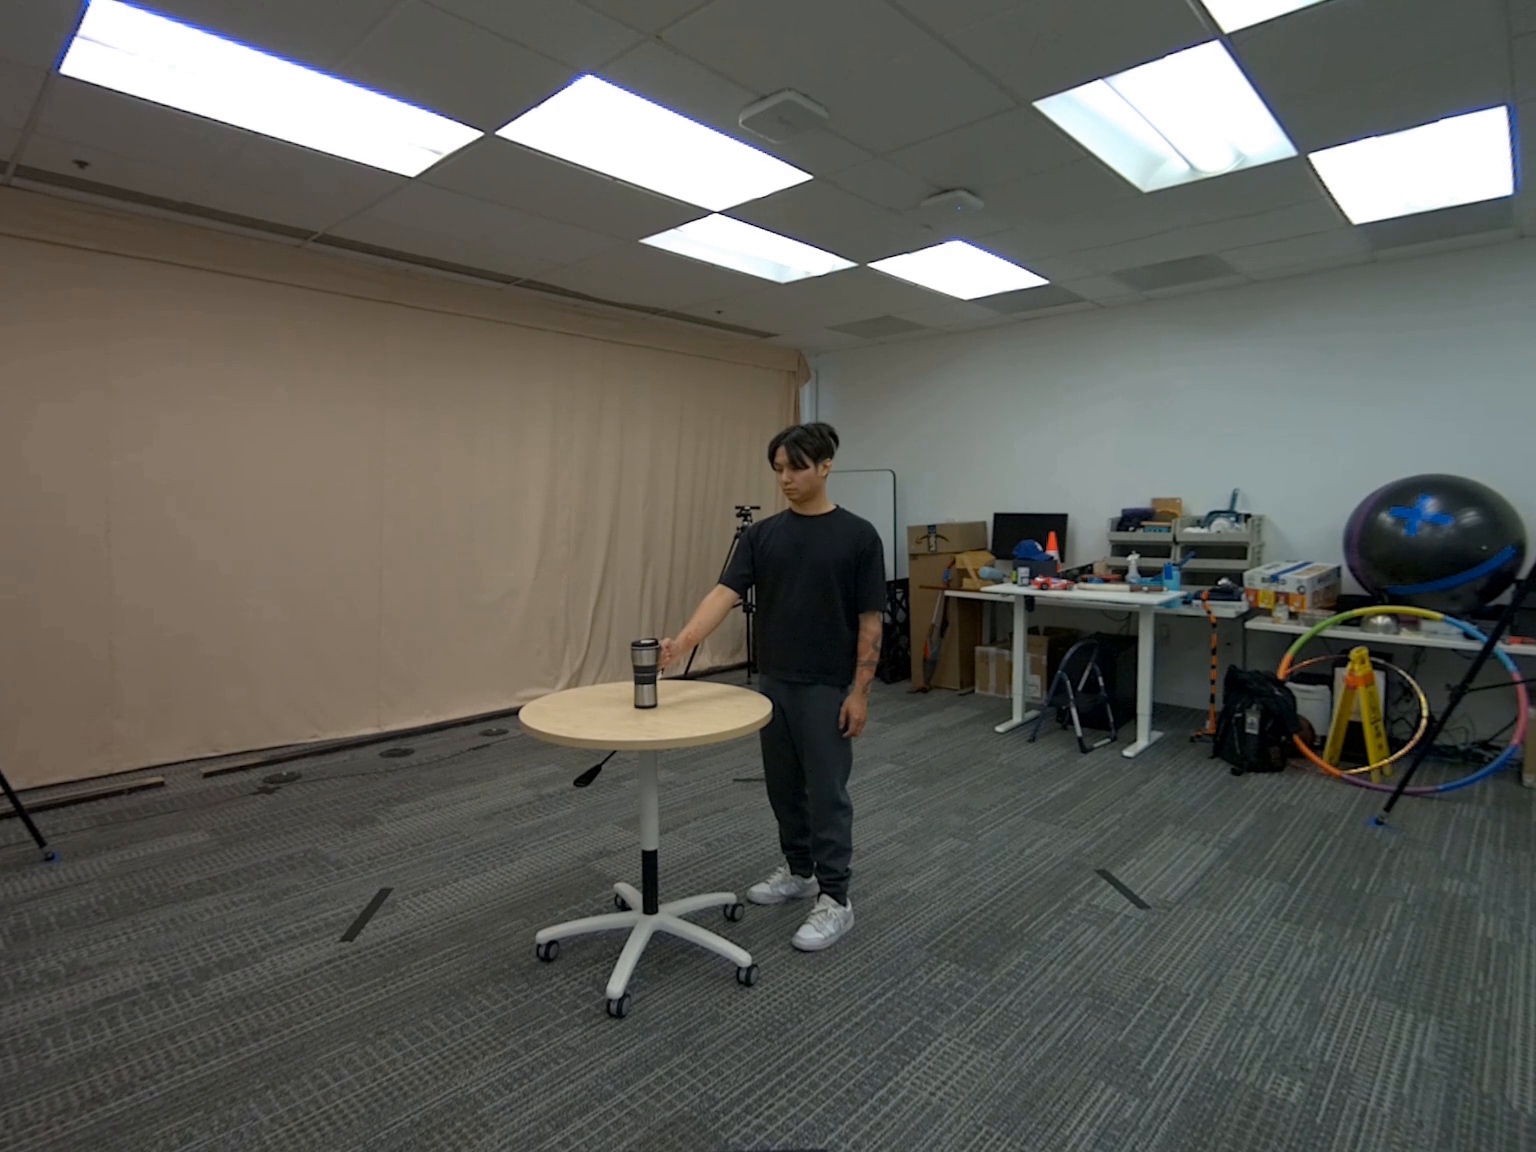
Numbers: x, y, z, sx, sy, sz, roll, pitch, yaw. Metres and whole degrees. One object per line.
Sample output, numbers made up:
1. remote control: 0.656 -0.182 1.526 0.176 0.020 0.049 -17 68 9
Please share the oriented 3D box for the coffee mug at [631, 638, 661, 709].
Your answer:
1. coffee mug: -0.351 0.298 2.566 0.119 0.203 0.090 -5 0 -31
